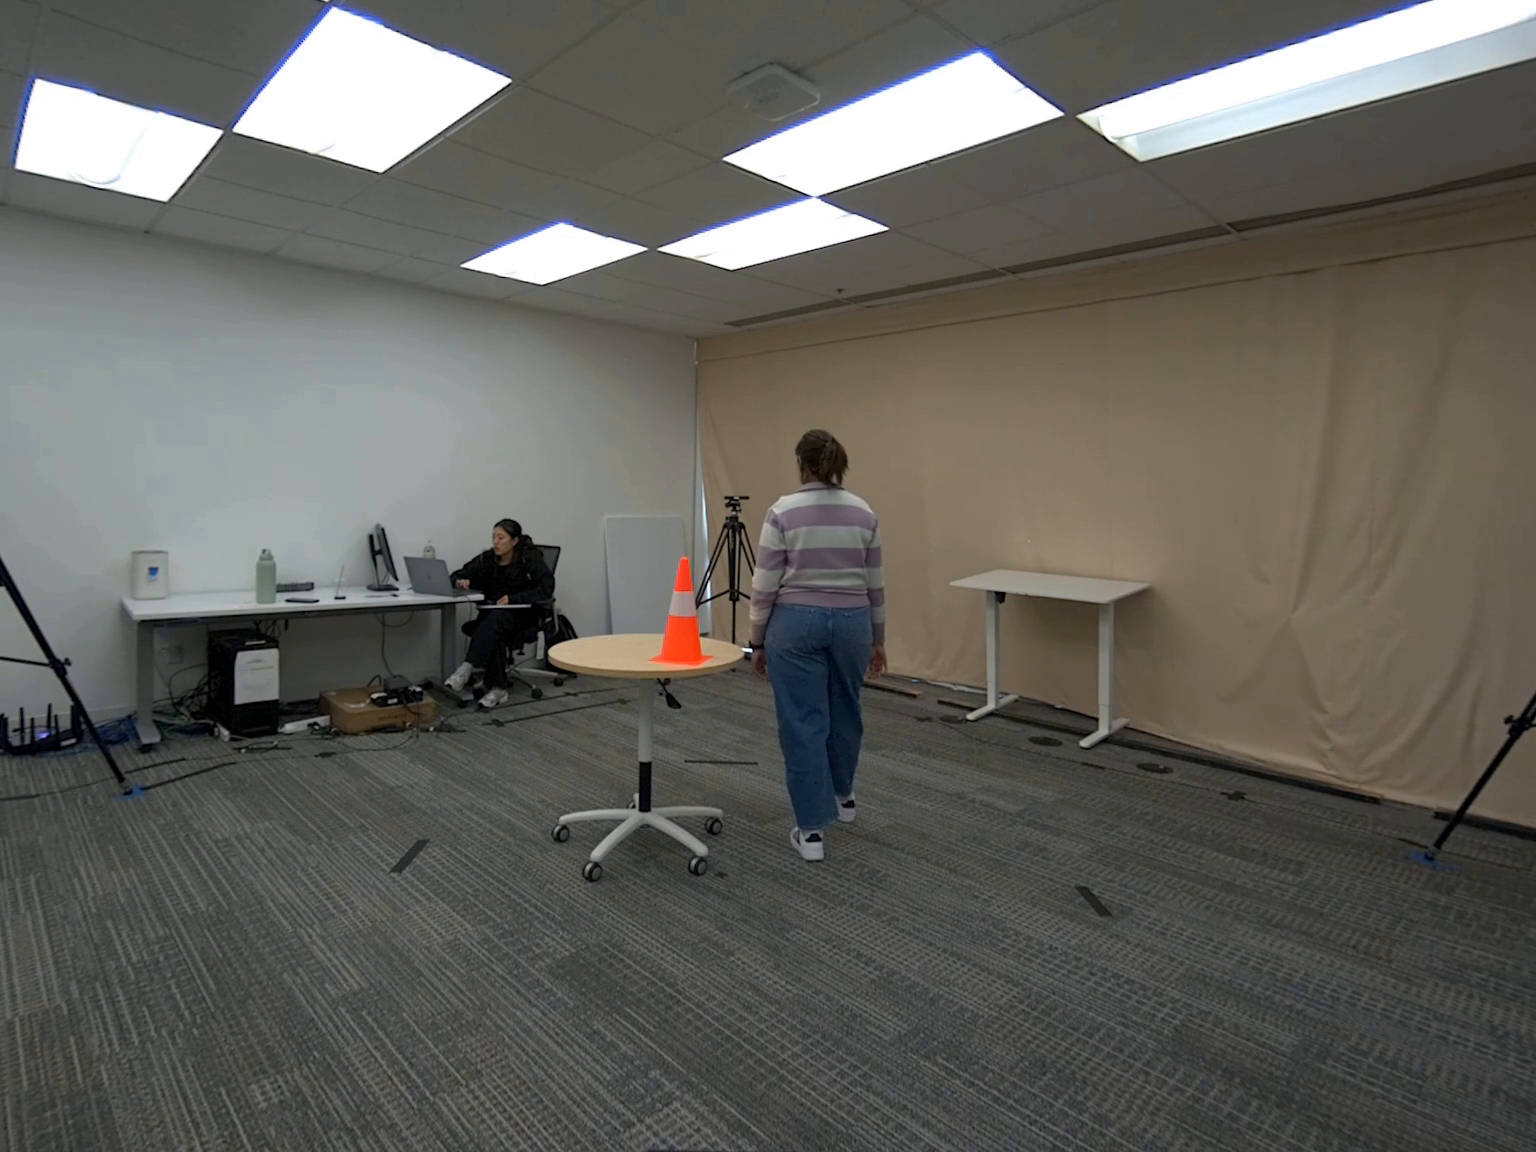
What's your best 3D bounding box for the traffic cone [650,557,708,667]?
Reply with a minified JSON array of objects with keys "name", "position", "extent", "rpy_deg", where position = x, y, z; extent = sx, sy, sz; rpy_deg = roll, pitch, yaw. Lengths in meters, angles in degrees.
[{"name":"traffic cone","position":[-0.323,0.123,3.145],"extent":[0.206,0.382,0.202],"rpy_deg":[3,4,19]}]
